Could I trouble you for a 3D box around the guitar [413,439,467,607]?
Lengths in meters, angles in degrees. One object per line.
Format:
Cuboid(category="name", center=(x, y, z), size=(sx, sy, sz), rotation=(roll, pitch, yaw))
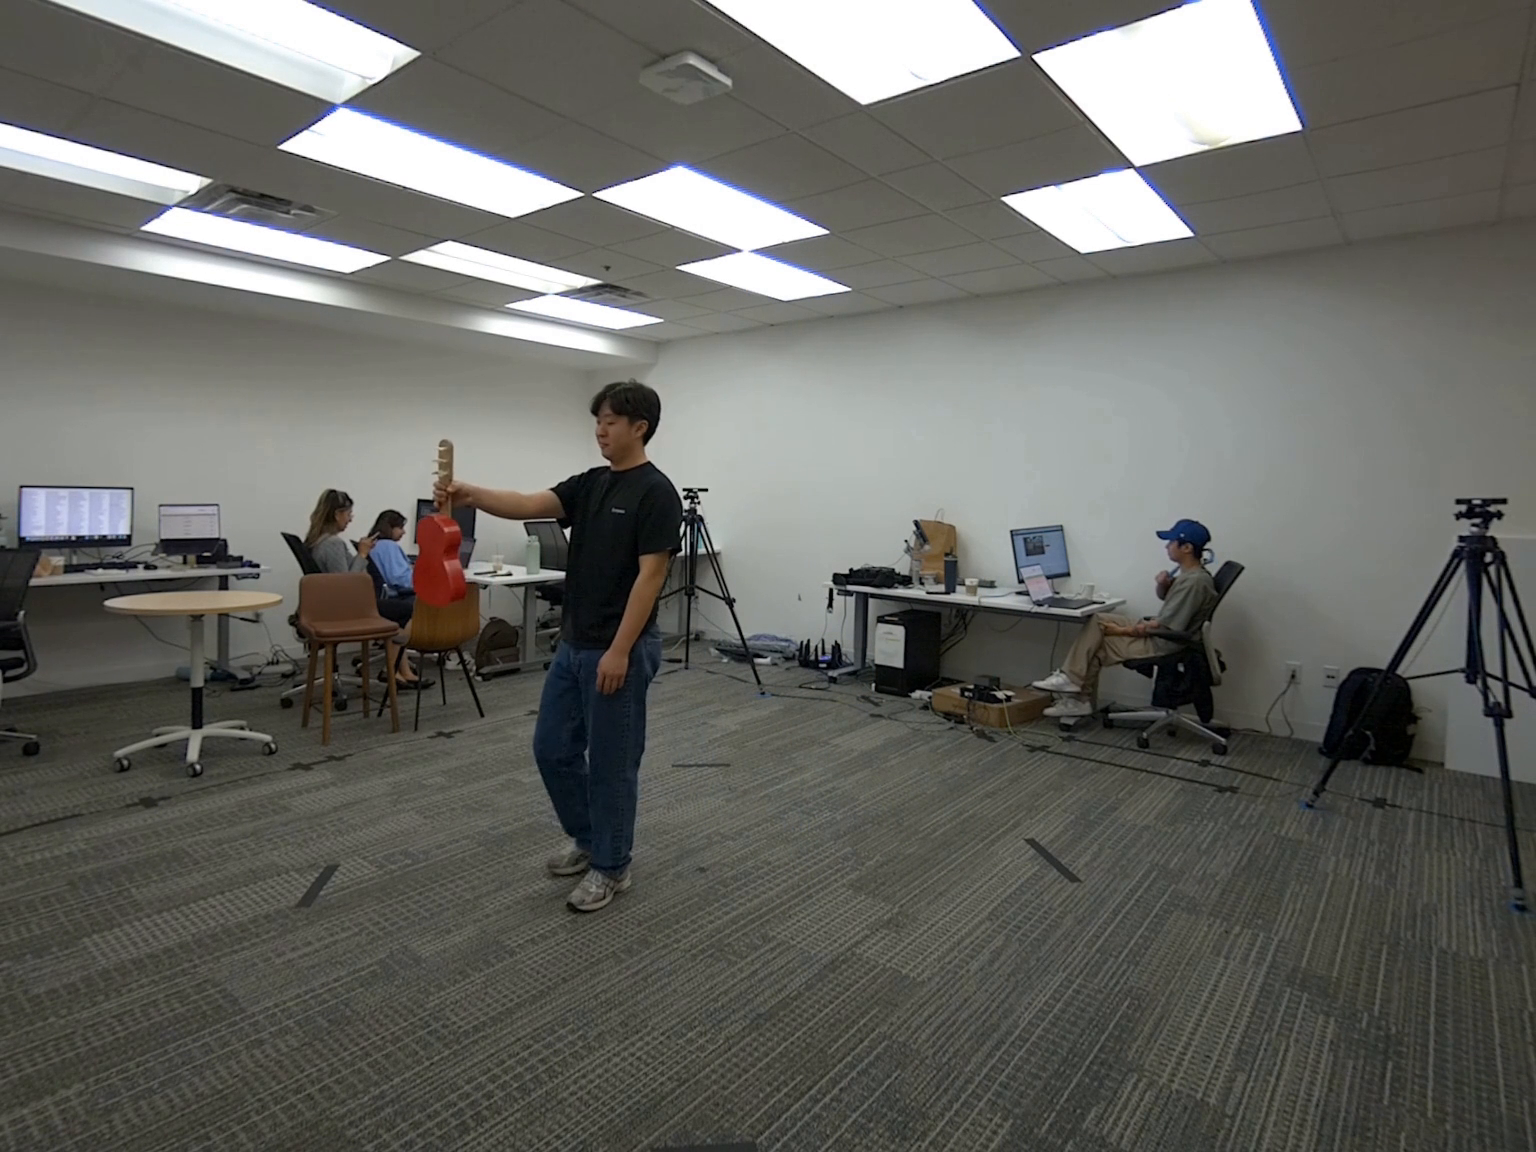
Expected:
Cuboid(category="guitar", center=(-1.015, -0.161, 2.586), size=(0.199, 0.495, 0.069), rotation=(1, 7, 35))
